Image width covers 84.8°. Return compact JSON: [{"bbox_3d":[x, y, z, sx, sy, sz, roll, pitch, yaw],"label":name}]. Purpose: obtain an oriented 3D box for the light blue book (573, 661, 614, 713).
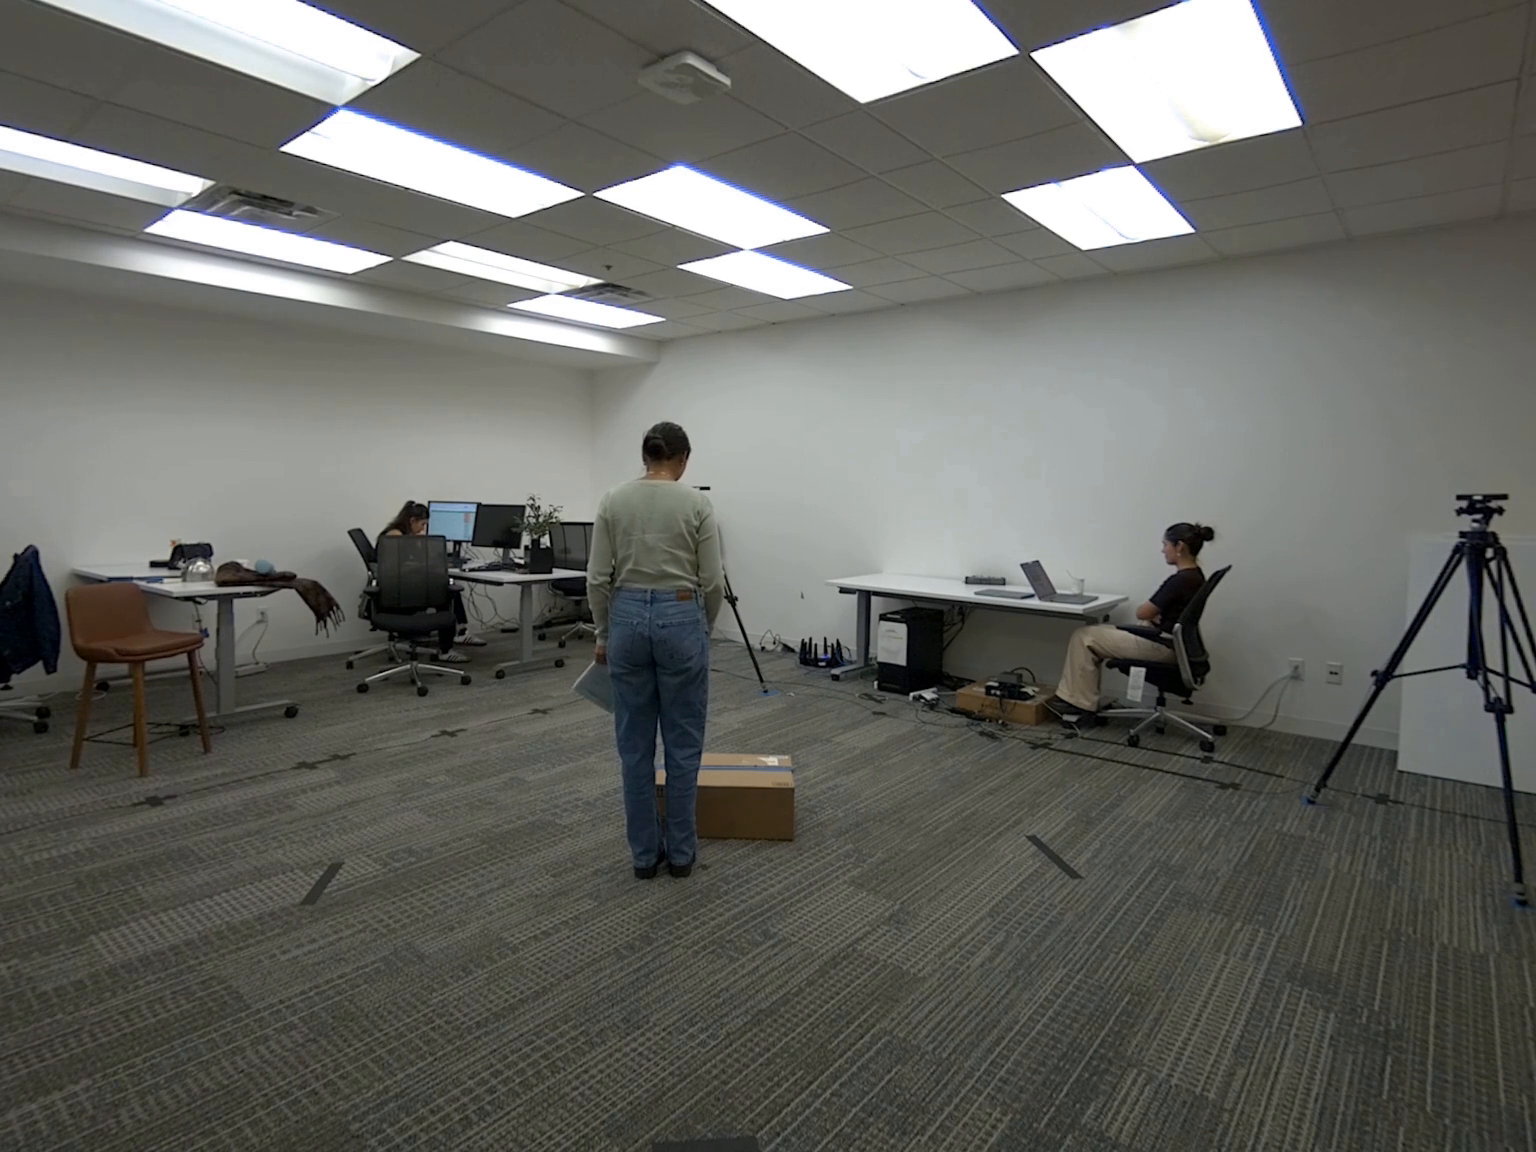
[{"bbox_3d":[-0.626,0.385,3.261,0.187,0.261,0.060,32,31,-15],"label":"light blue book"}]
